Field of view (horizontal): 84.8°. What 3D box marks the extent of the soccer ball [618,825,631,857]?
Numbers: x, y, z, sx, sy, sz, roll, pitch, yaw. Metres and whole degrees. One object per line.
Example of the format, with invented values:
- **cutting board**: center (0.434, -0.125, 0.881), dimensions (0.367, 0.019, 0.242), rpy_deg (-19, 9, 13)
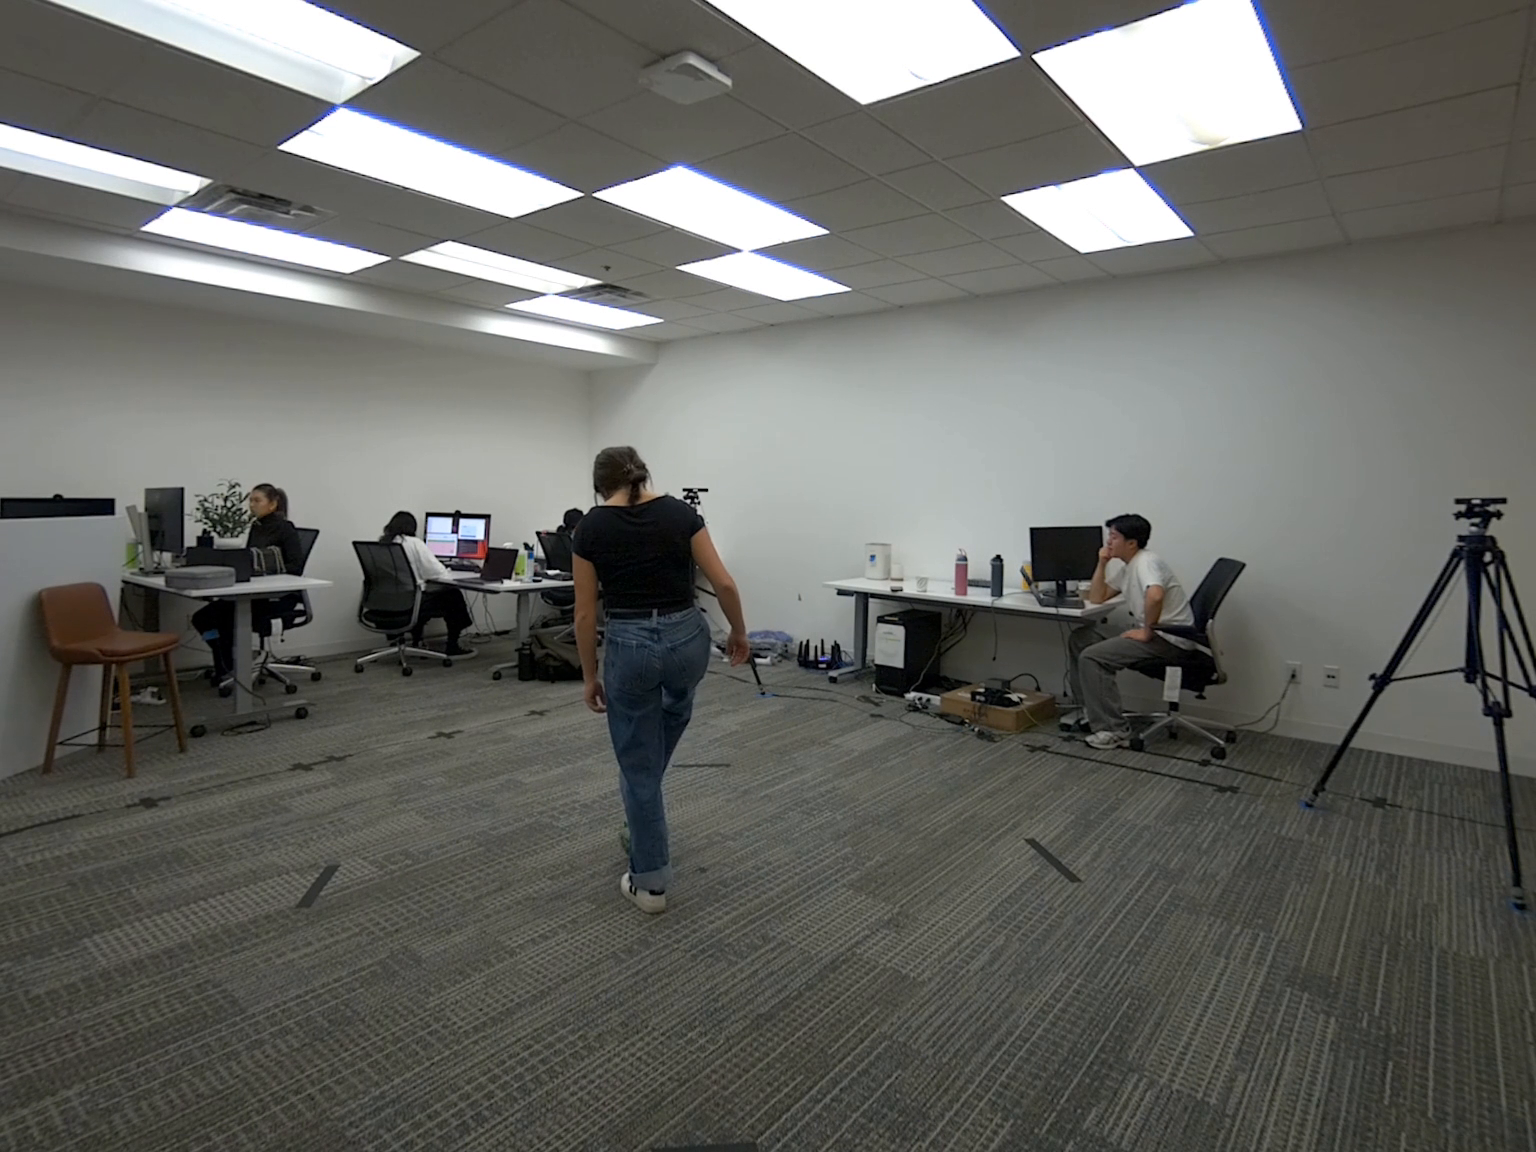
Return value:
- **soccer ball**: center (-0.447, 0.948, 3.194), dimensions (0.187, 0.187, 0.188), rpy_deg (1, 4, -2)
